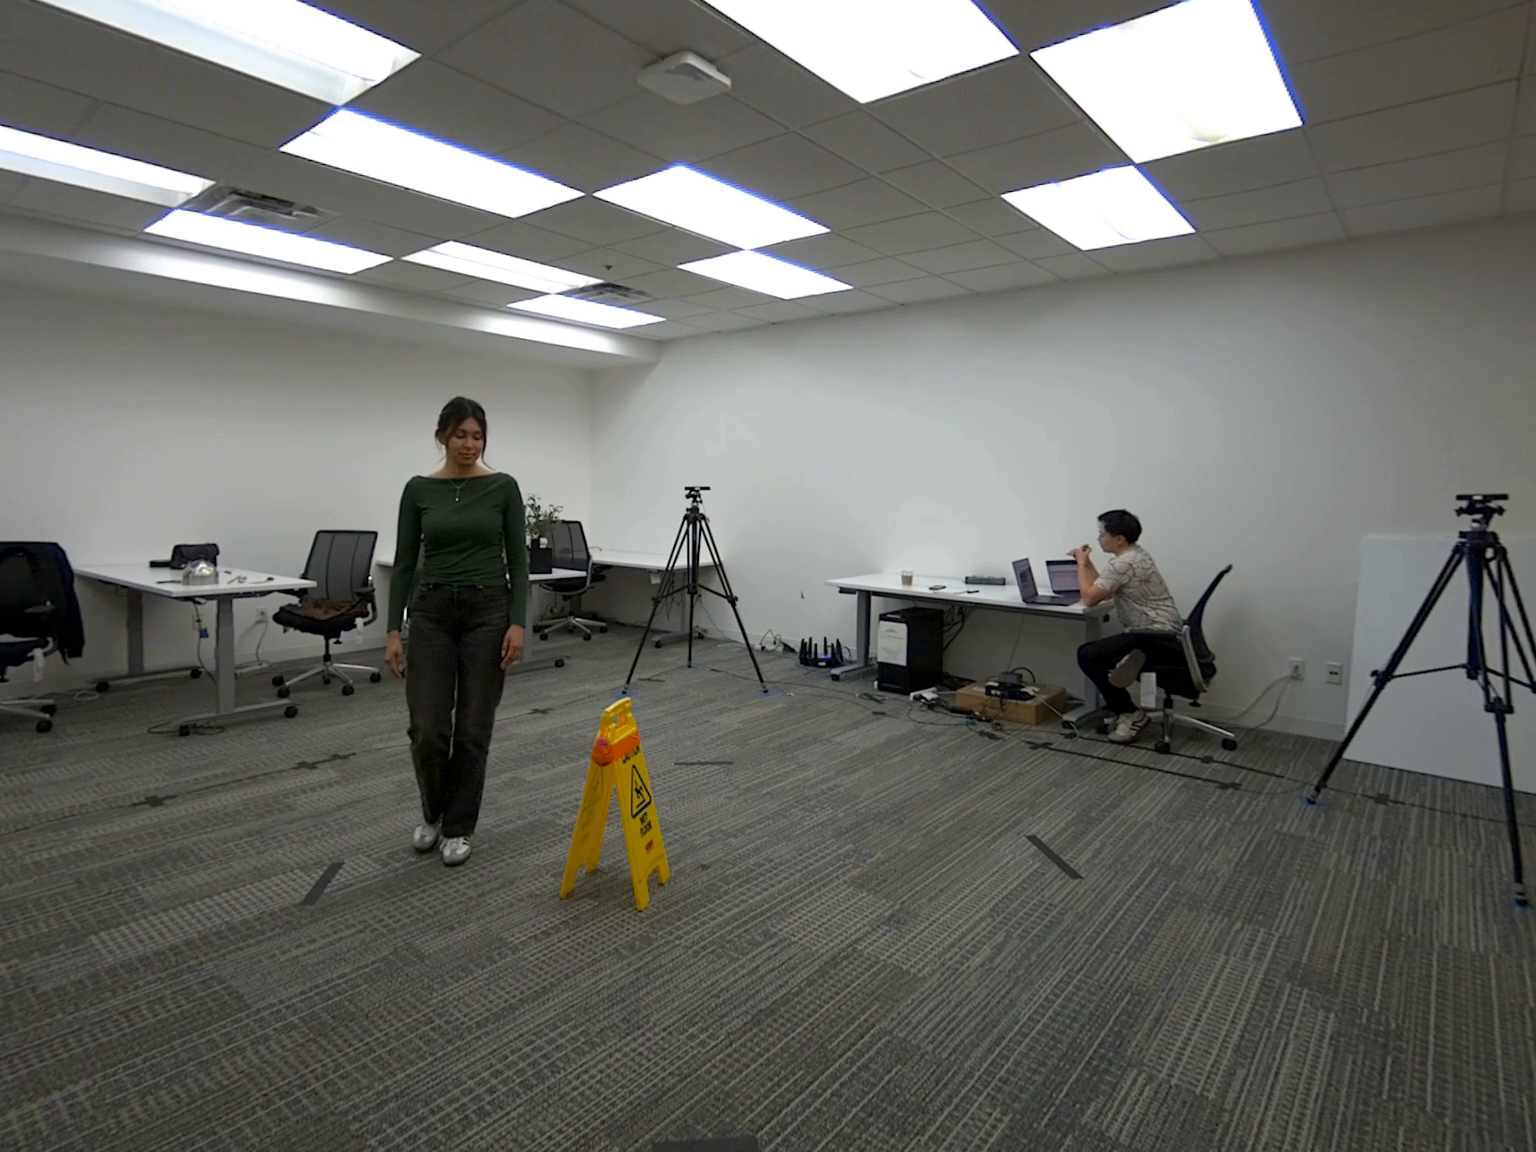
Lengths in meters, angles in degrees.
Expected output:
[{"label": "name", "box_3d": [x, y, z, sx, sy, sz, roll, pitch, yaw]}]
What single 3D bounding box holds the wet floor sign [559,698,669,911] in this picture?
[{"label": "wet floor sign", "box_3d": [-0.529, 0.754, 2.931, 0.295, 0.644, 0.278, 2, 4, 15]}]
